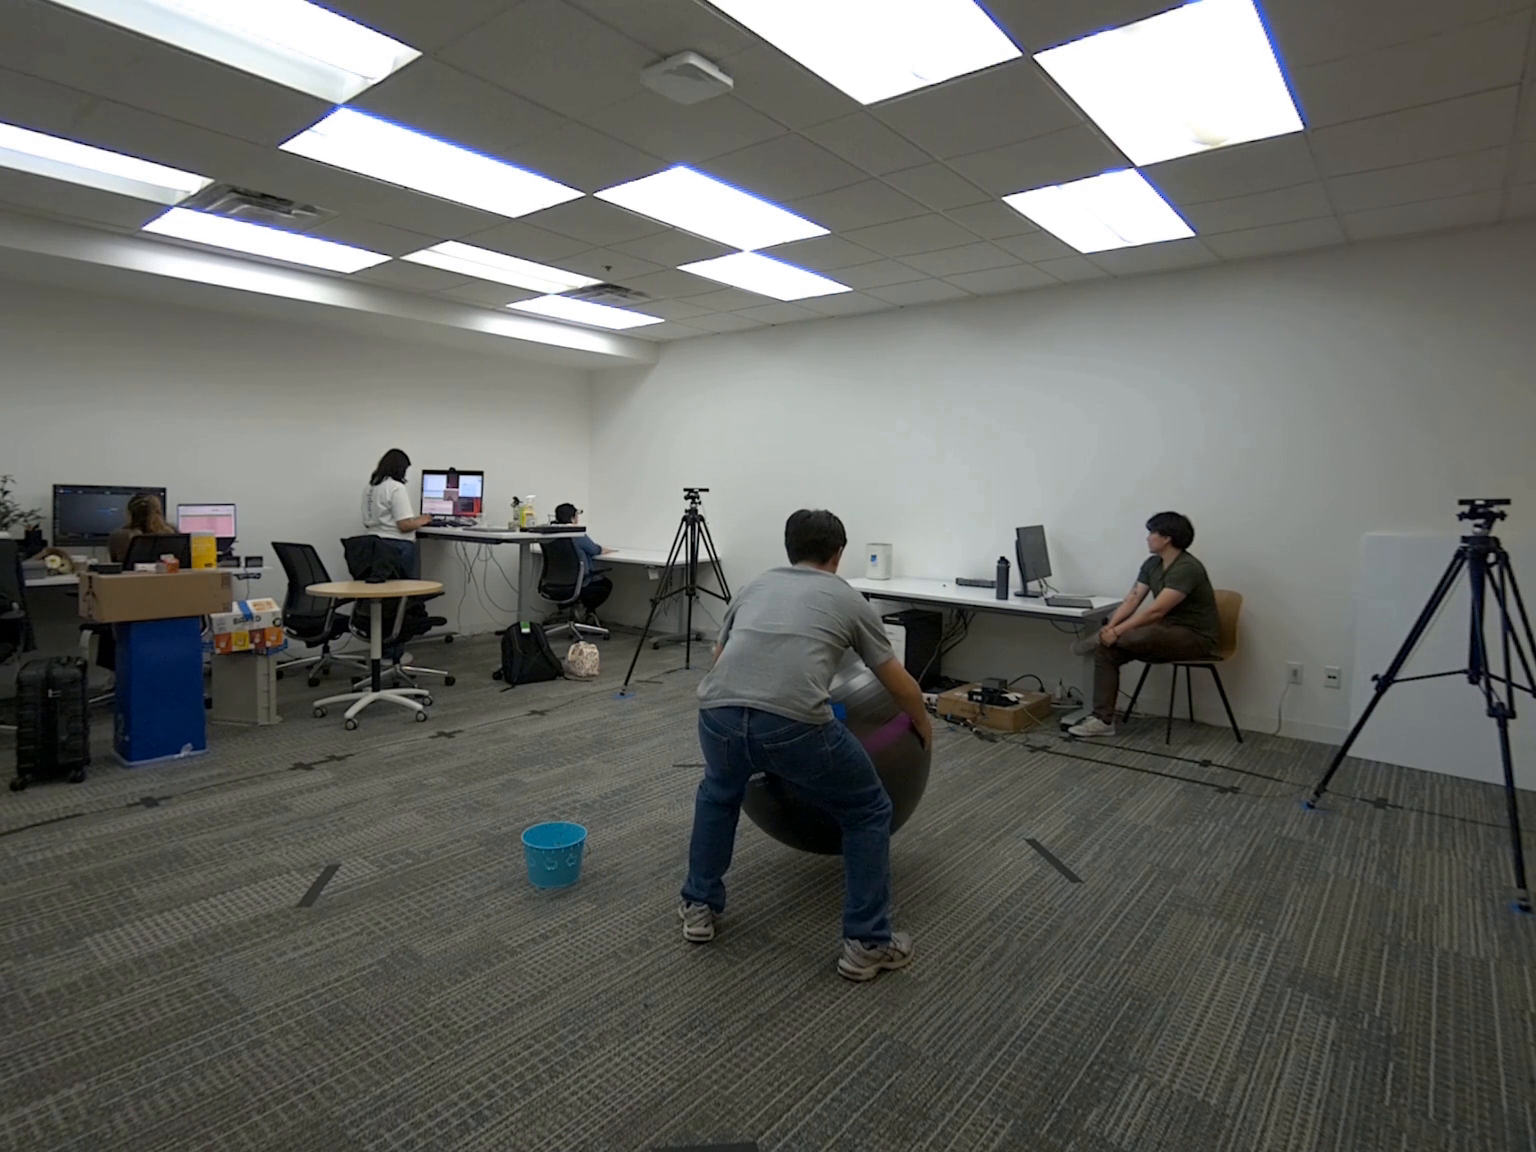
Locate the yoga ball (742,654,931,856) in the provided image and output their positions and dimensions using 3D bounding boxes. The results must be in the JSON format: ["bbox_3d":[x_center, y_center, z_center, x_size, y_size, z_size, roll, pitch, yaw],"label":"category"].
[{"bbox_3d":[0.210,0.615,3.124,0.757,0.755,0.762,1,4,-2],"label":"yoga ball"}]
